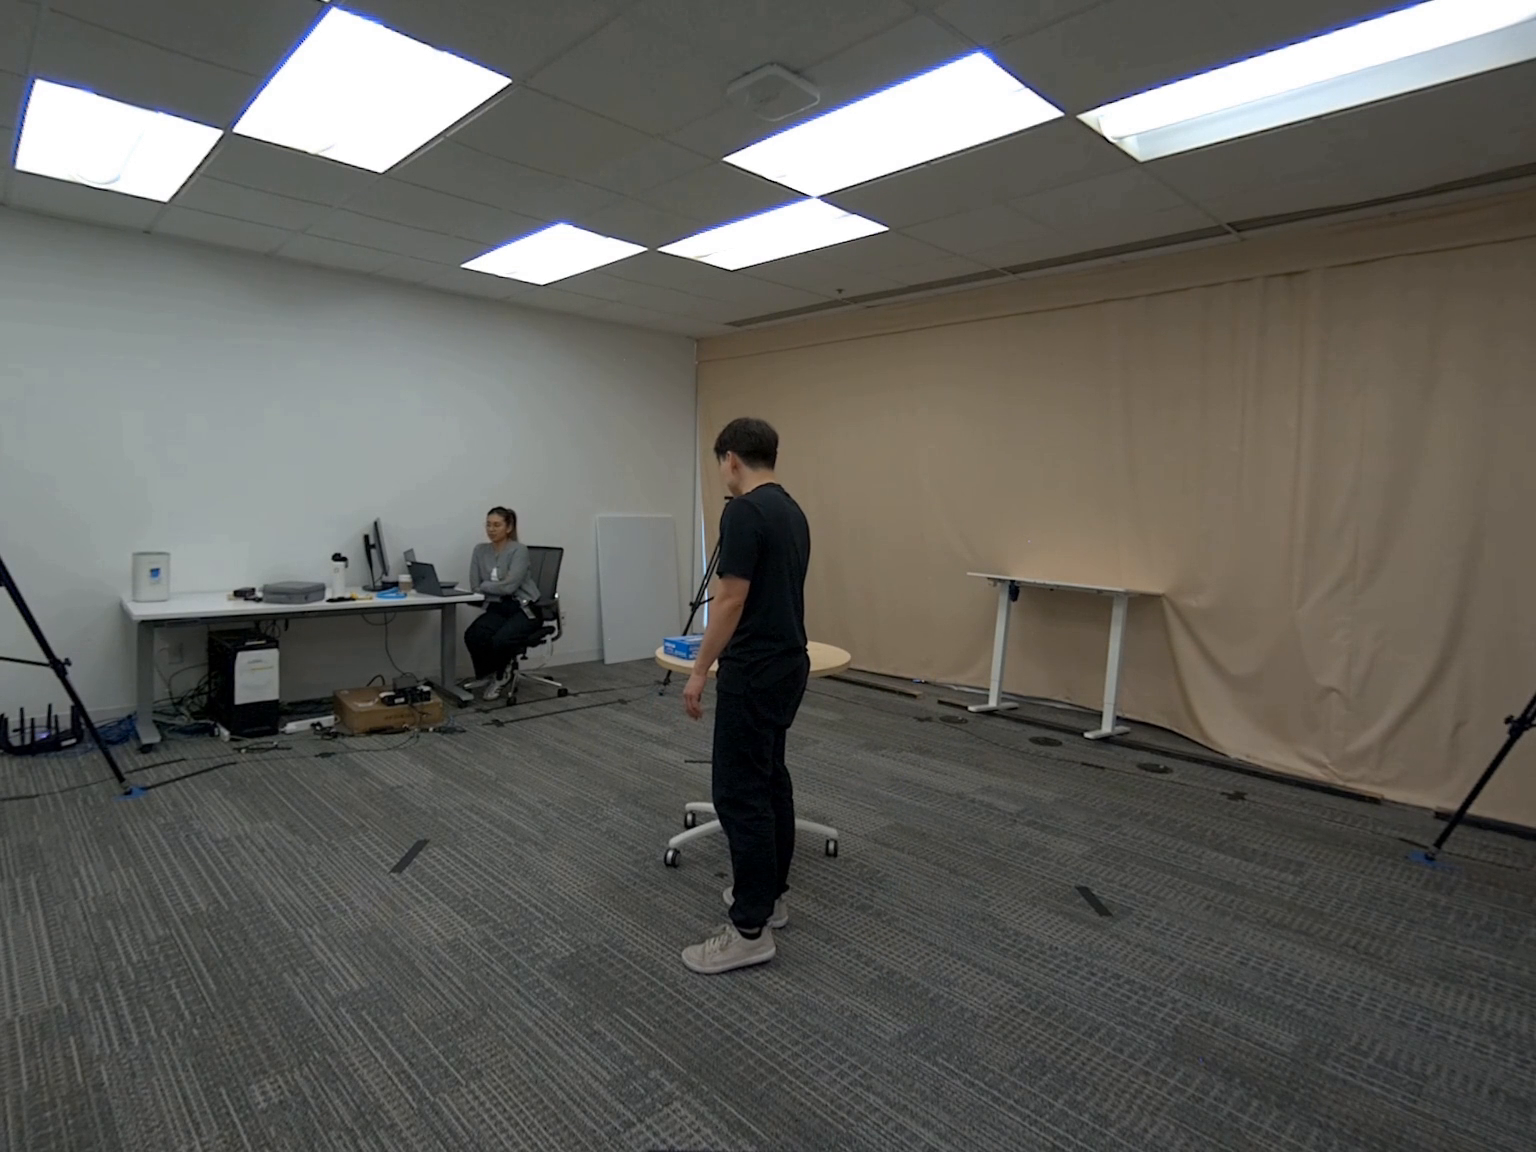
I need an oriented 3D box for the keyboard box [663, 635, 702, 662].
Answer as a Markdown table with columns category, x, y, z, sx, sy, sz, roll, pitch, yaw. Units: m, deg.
| category | x | y | z | sx | sy | sz | roll | pitch | yaw |
| --- | --- | --- | --- | --- | --- | --- | --- | --- | --- |
| keyboard box | -0.192 | 0.271 | 3.343 | 0.427 | 0.059 | 0.180 | -3 | 6 | -38 |
